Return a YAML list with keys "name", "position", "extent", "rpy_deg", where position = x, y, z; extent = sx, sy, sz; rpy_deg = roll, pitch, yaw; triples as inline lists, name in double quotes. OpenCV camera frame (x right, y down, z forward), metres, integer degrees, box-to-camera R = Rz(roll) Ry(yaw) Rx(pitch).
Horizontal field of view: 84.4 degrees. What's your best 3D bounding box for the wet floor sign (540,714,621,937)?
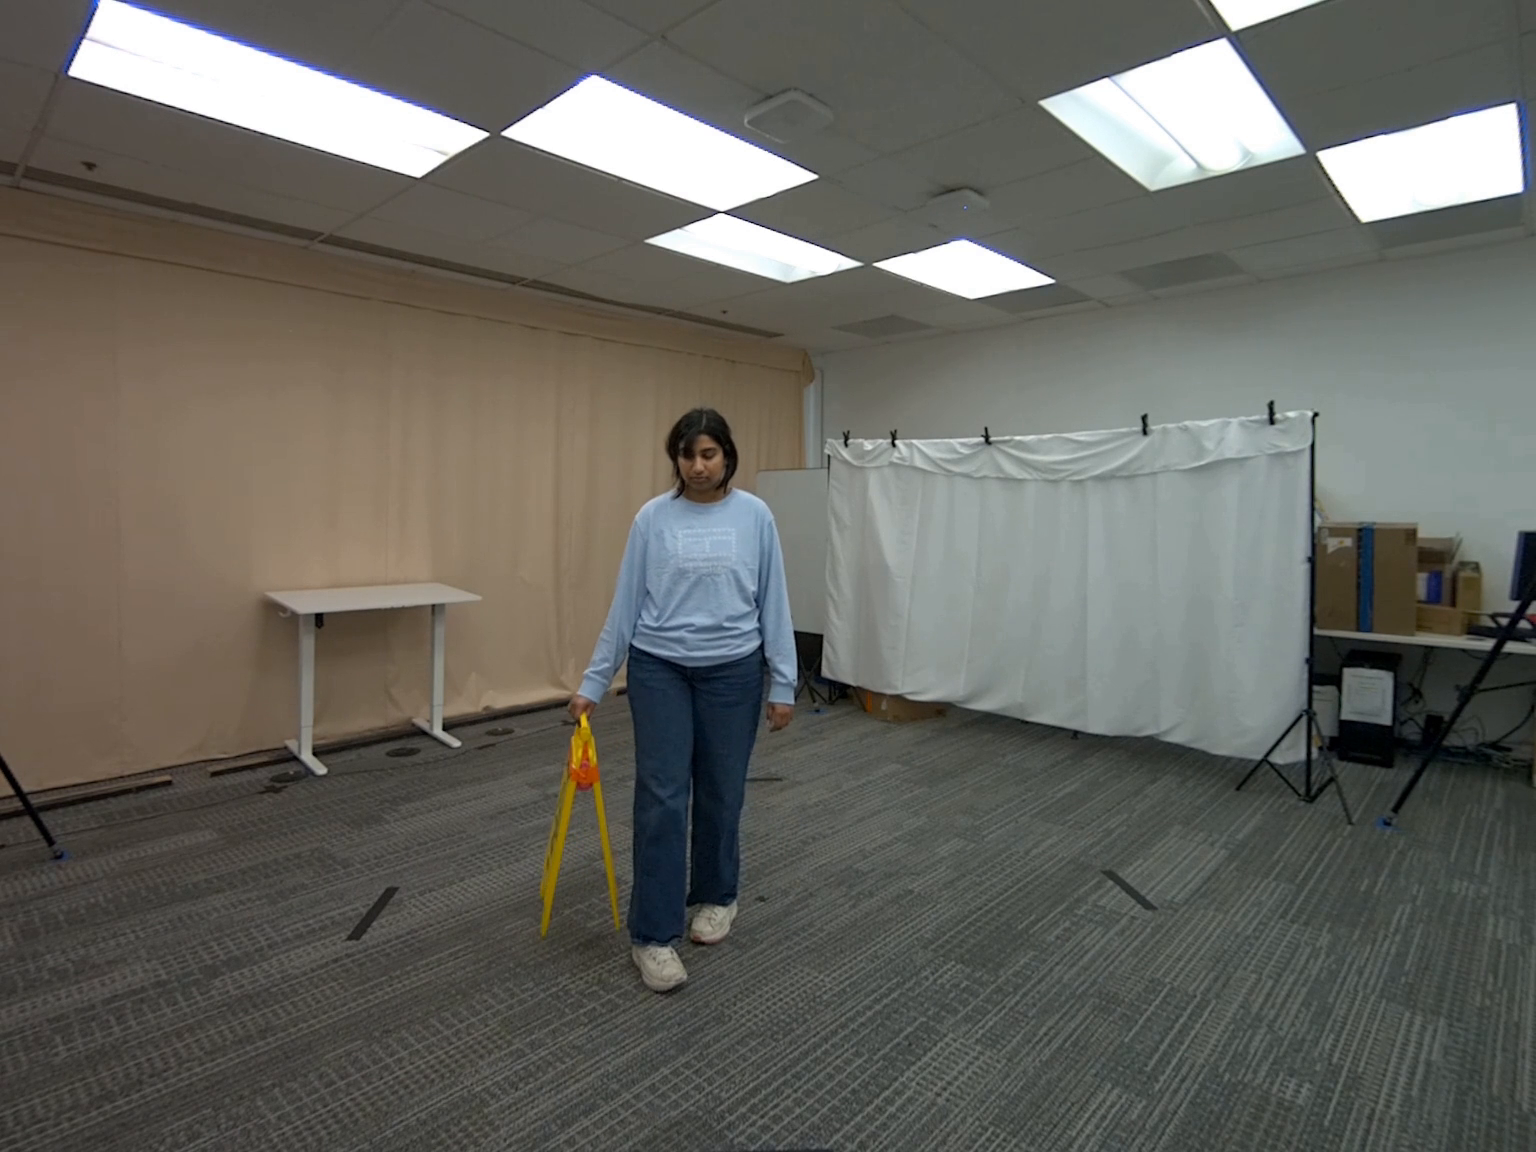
- name: "wet floor sign"
  position: [-0.582, 0.750, 2.629]
  extent: [0.286, 0.643, 0.287]
  rpy_deg: [1, 7, -13]
